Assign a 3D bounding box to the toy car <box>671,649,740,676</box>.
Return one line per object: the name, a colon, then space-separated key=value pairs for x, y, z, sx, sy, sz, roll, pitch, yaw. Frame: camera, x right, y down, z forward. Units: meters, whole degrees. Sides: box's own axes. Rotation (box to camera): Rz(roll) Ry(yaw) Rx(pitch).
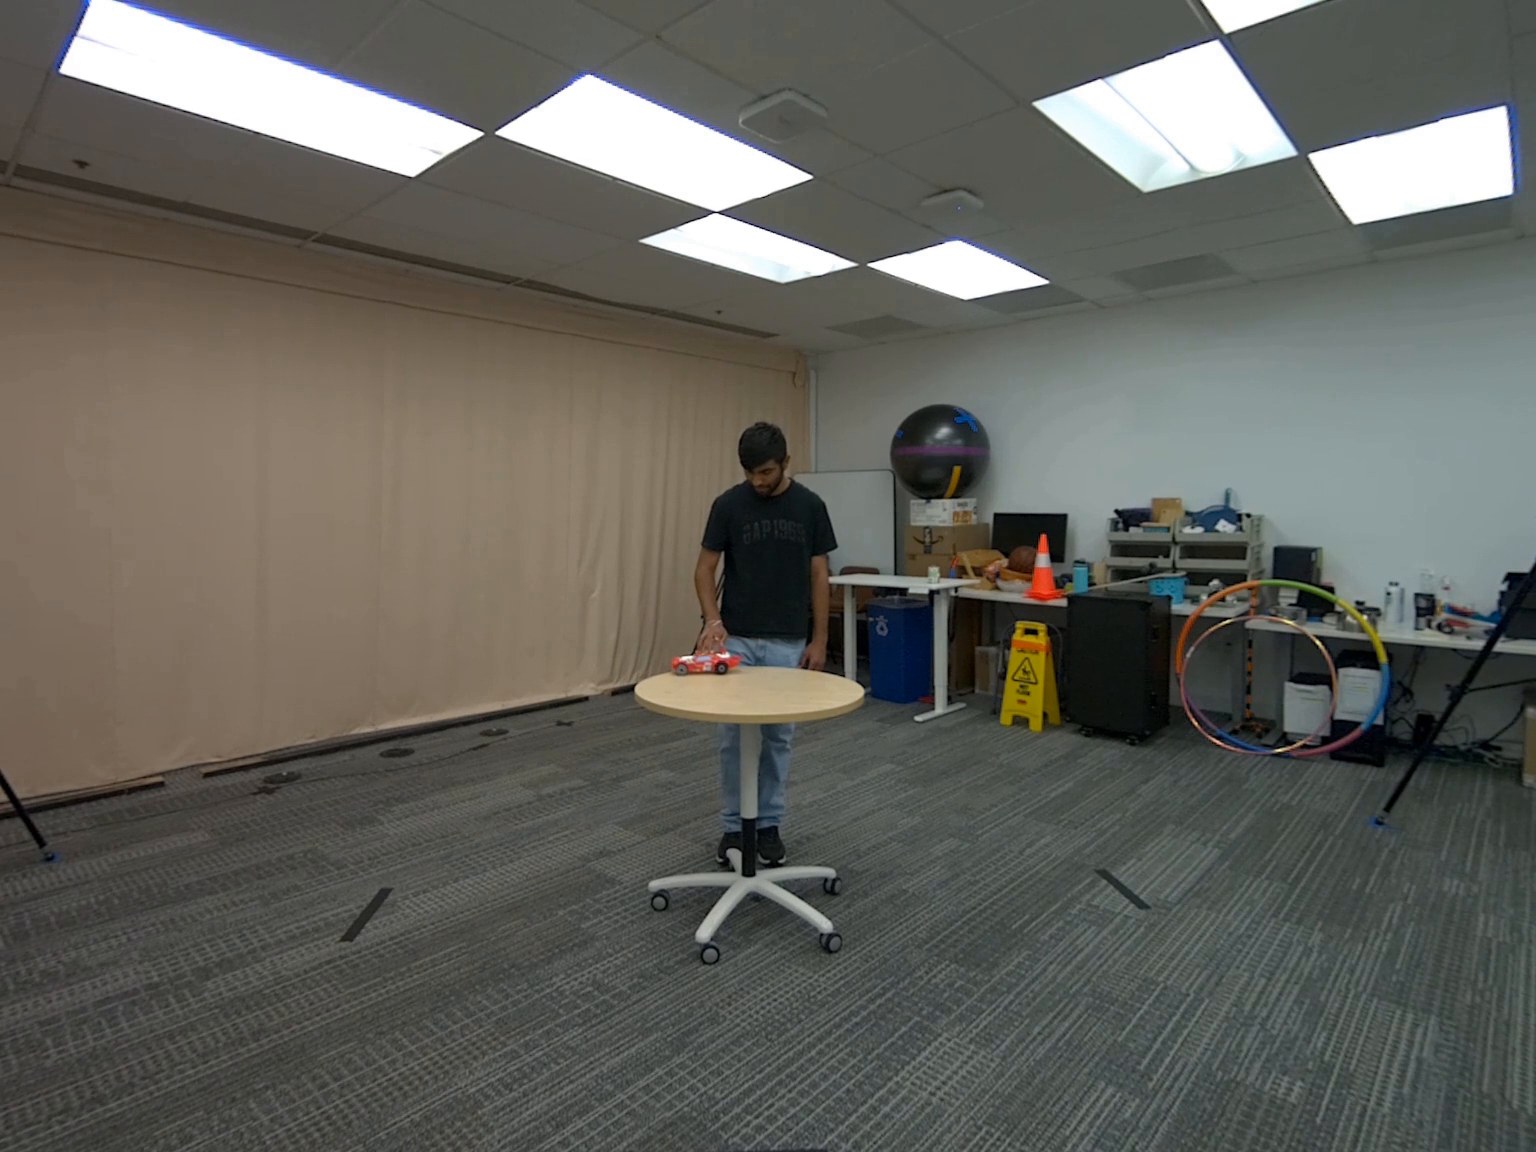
toy car: x=-0.221 y=0.323 z=3.083 sx=0.253 sy=0.083 sz=0.131 roll=-12 pitch=6 yaw=-5
